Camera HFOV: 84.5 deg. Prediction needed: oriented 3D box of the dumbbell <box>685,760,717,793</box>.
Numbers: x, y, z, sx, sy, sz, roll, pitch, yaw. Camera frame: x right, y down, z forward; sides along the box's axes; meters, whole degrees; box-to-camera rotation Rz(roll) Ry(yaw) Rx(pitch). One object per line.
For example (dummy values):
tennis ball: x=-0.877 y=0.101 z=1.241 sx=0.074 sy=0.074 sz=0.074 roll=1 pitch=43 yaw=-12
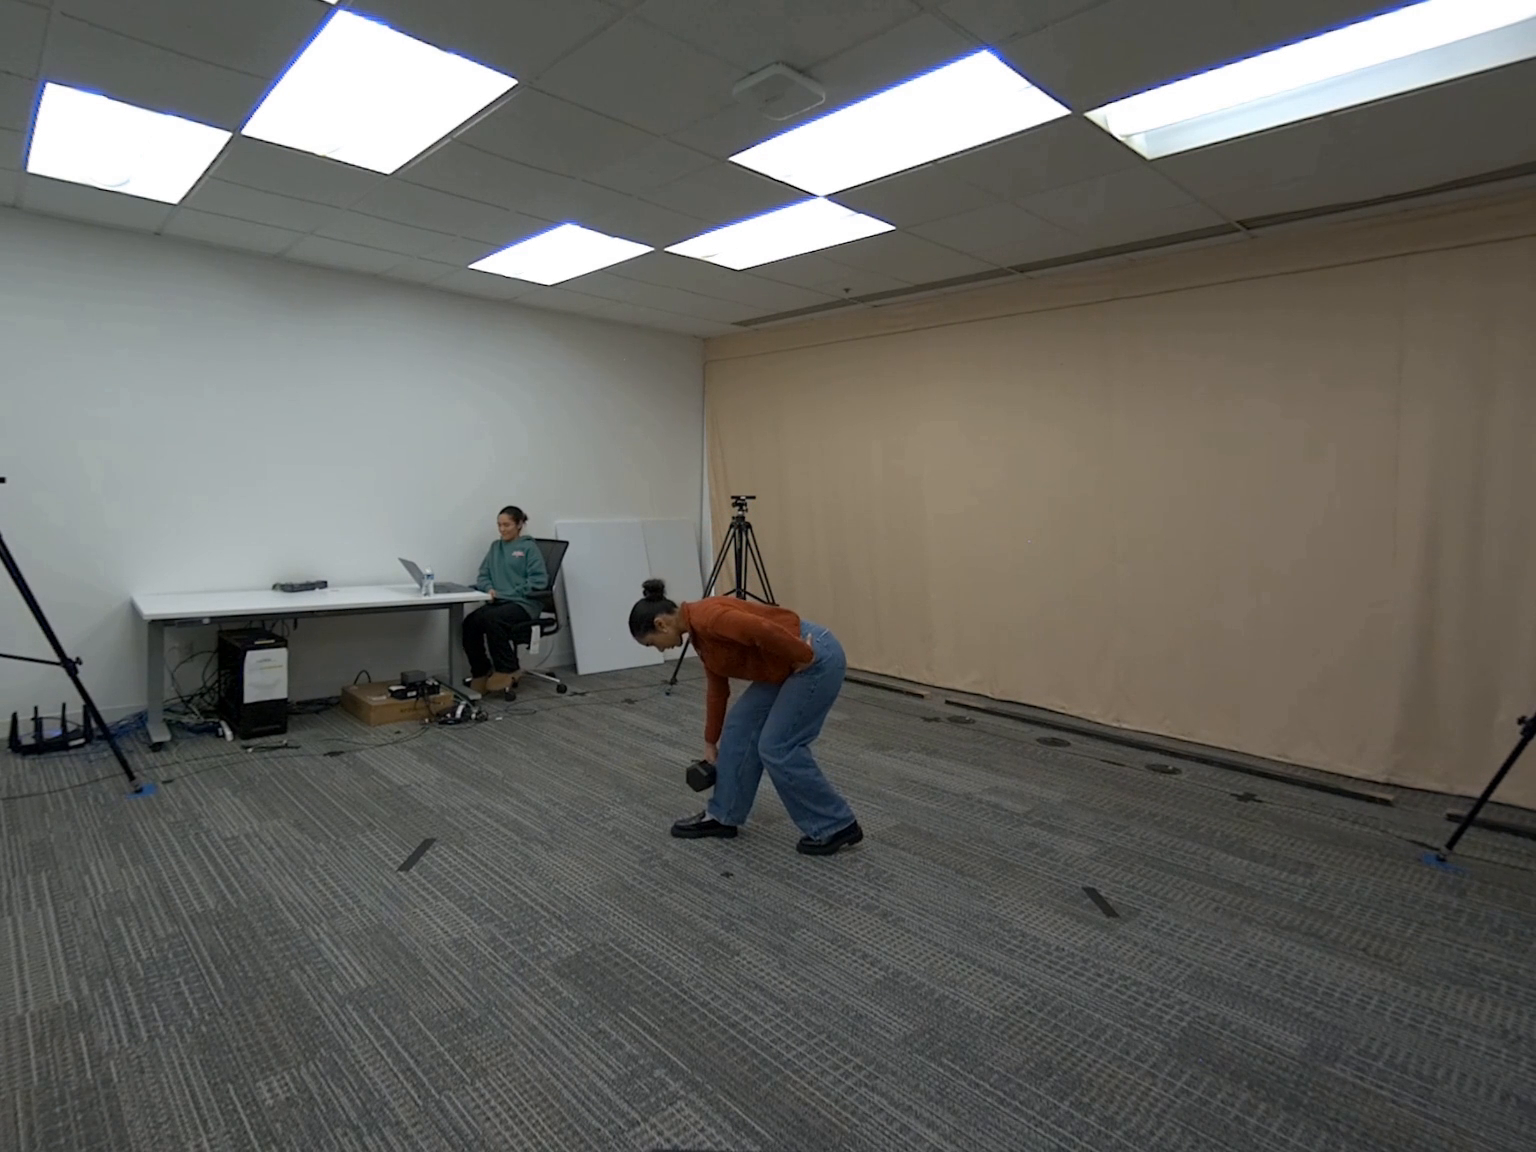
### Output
dumbbell: x=-0.229 y=0.802 z=3.520 sx=0.111 sy=0.122 sz=0.289 roll=10 pitch=12 yaw=29
